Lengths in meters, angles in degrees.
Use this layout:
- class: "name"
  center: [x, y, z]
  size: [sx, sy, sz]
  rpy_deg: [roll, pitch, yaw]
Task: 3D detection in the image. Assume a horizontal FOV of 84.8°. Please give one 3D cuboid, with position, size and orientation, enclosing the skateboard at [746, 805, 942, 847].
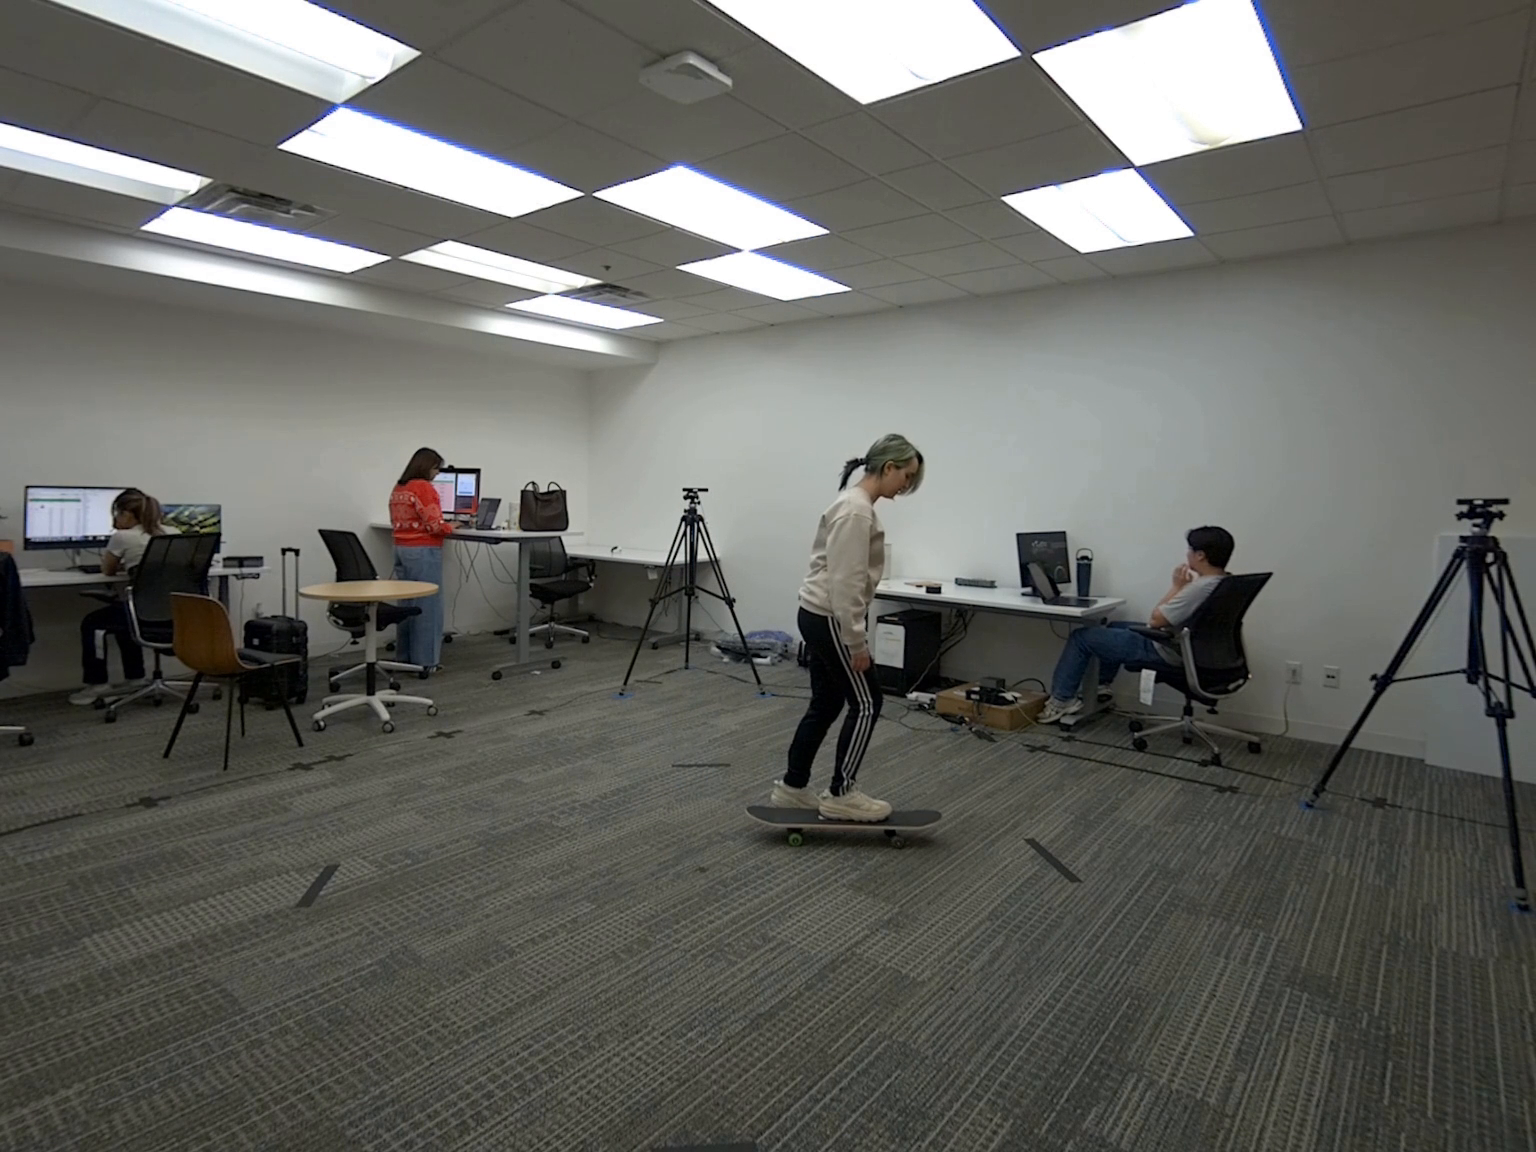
- class: "skateboard"
  center: [0.285, 0.994, 3.414]
  size: [0.785, 0.110, 0.194]
  rpy_deg: [1, 3, 0]
